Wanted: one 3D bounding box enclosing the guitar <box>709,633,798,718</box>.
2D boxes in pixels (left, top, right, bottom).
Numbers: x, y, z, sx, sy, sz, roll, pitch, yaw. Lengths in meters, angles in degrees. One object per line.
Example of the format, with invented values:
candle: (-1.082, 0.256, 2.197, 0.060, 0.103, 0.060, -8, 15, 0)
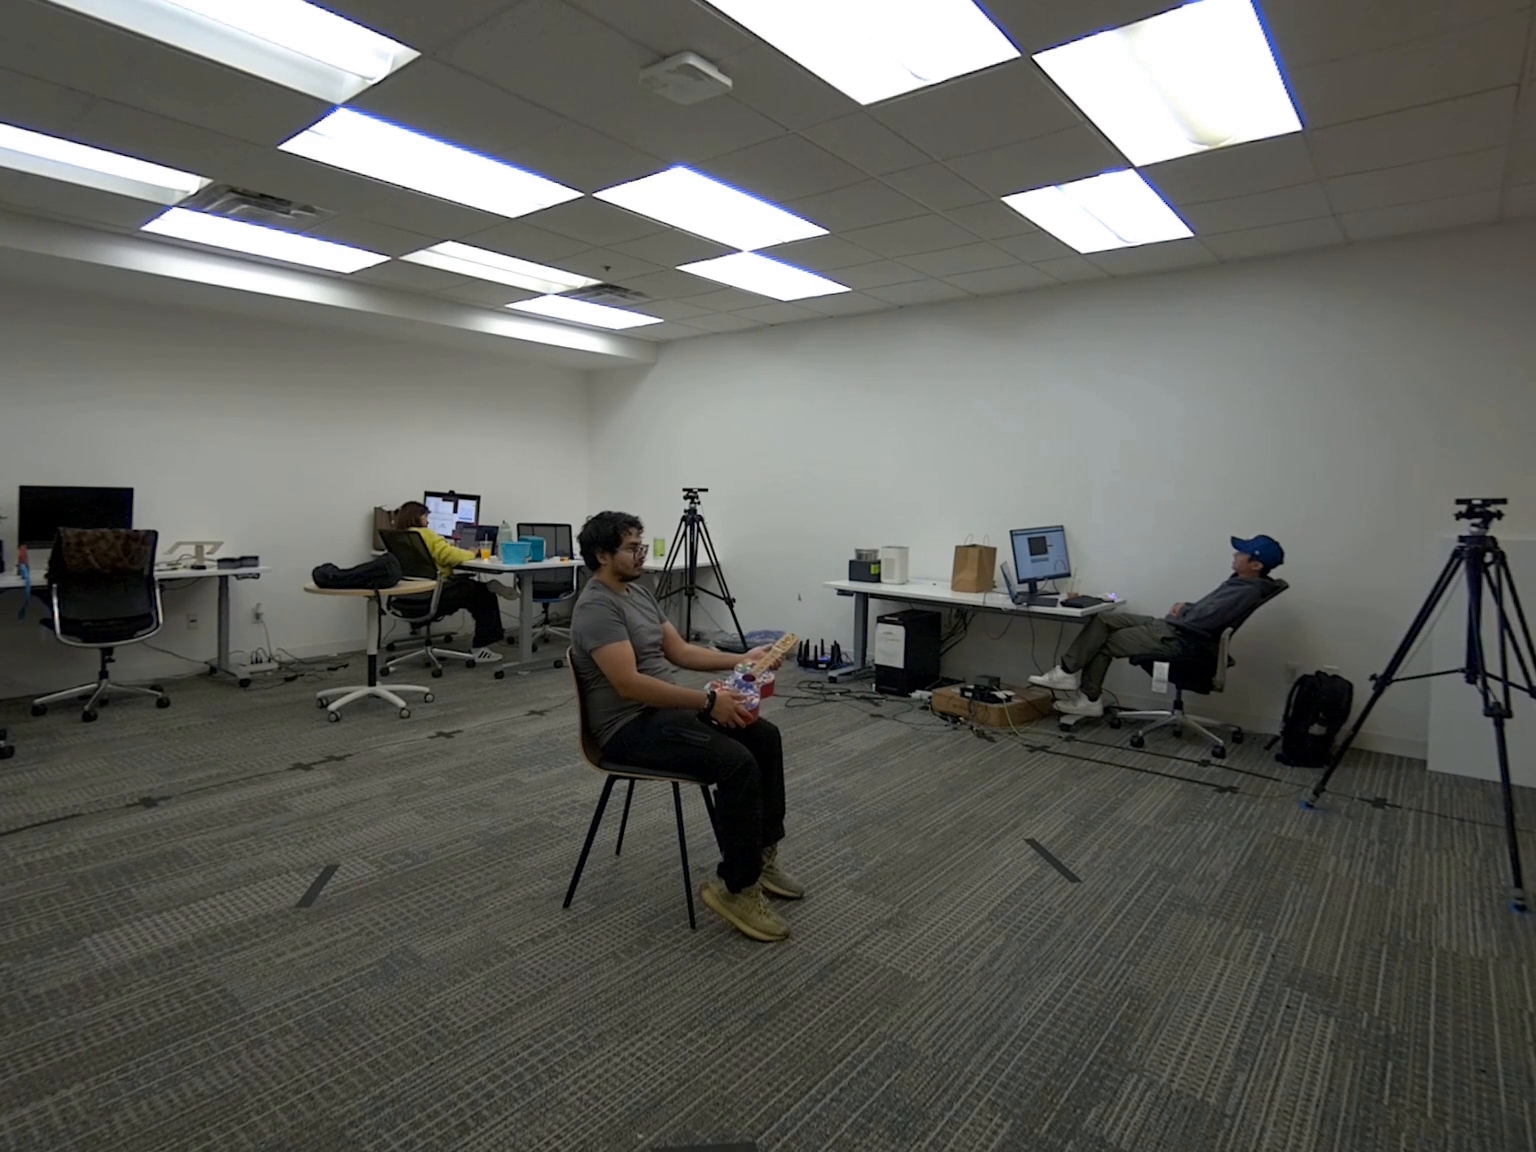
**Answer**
guitar: (-0.021, 0.347, 2.917, 0.200, 0.069, 0.490, 24, 34, 31)
